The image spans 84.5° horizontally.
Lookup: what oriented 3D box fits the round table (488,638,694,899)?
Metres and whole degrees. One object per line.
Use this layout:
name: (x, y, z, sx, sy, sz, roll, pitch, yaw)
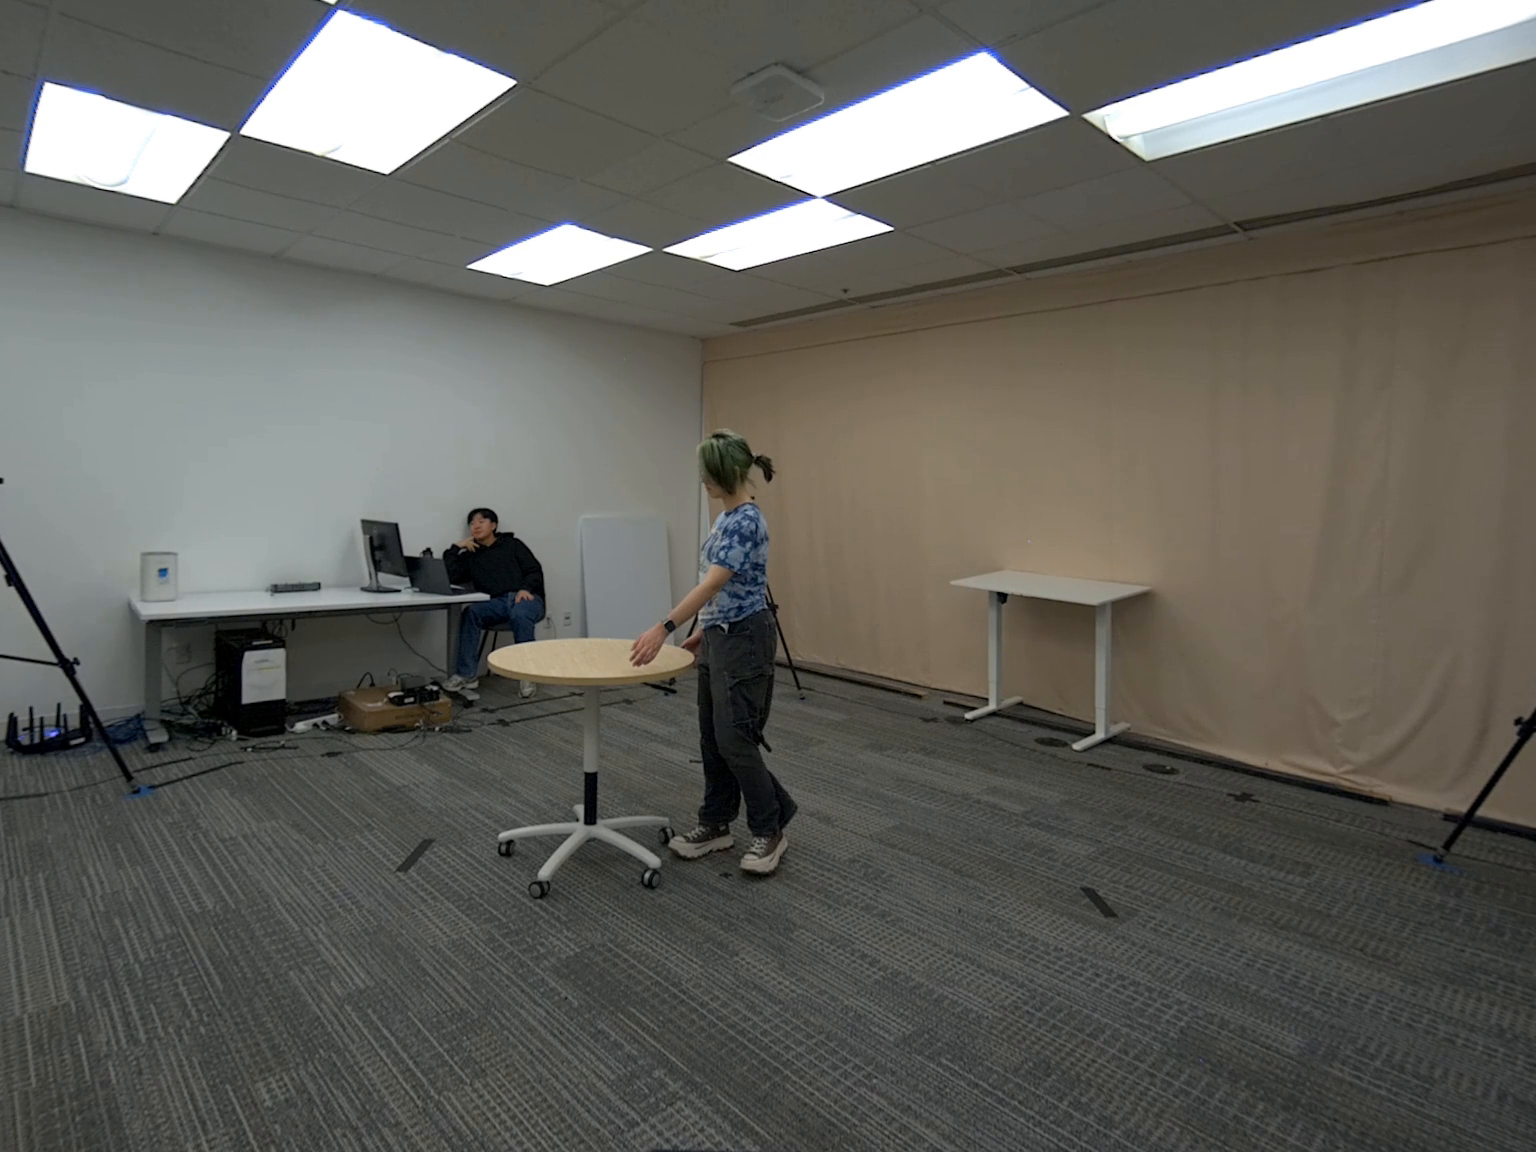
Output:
round table: (-0.675, 0.696, 3.185, 0.763, 0.792, 0.767, 1, 4, -1)
